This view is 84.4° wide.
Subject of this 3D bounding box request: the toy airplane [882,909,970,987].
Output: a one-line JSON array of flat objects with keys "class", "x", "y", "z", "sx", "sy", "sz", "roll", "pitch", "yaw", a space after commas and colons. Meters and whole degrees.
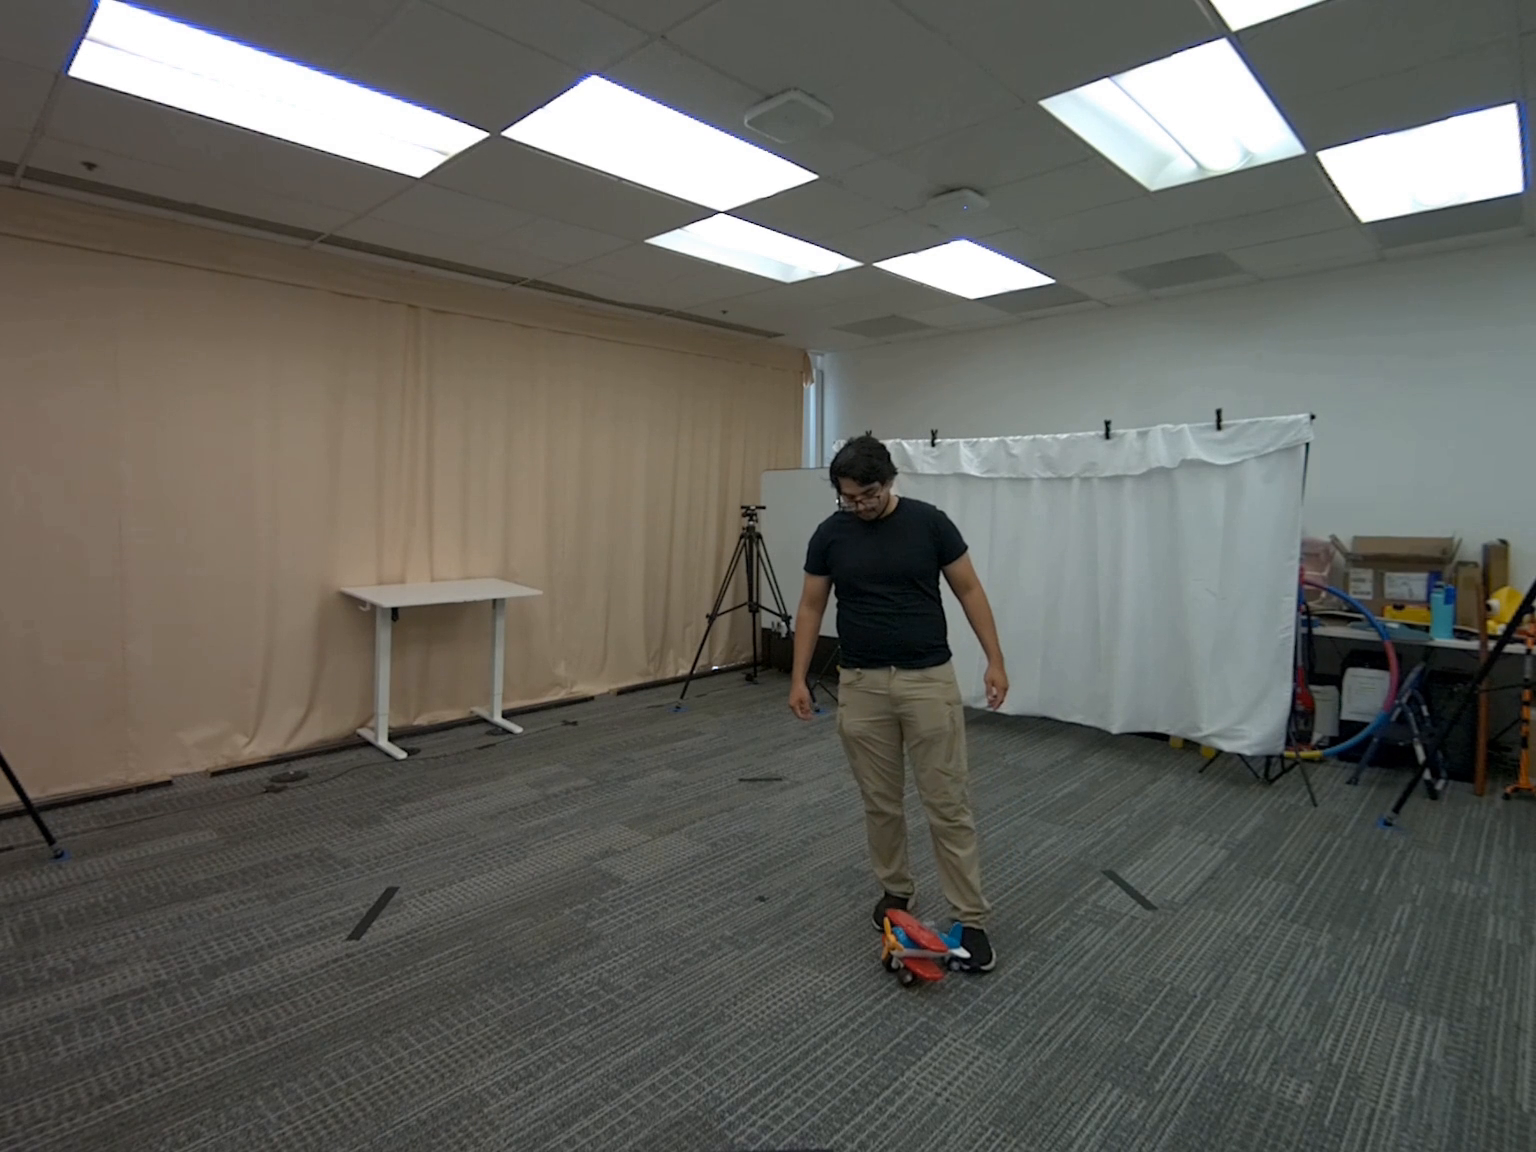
[{"class": "toy airplane", "x": 0.464, "y": 1.105, "z": 2.521, "sx": 0.259, "sy": 0.156, "sz": 0.251, "roll": 6, "pitch": 8, "yaw": 40}]
